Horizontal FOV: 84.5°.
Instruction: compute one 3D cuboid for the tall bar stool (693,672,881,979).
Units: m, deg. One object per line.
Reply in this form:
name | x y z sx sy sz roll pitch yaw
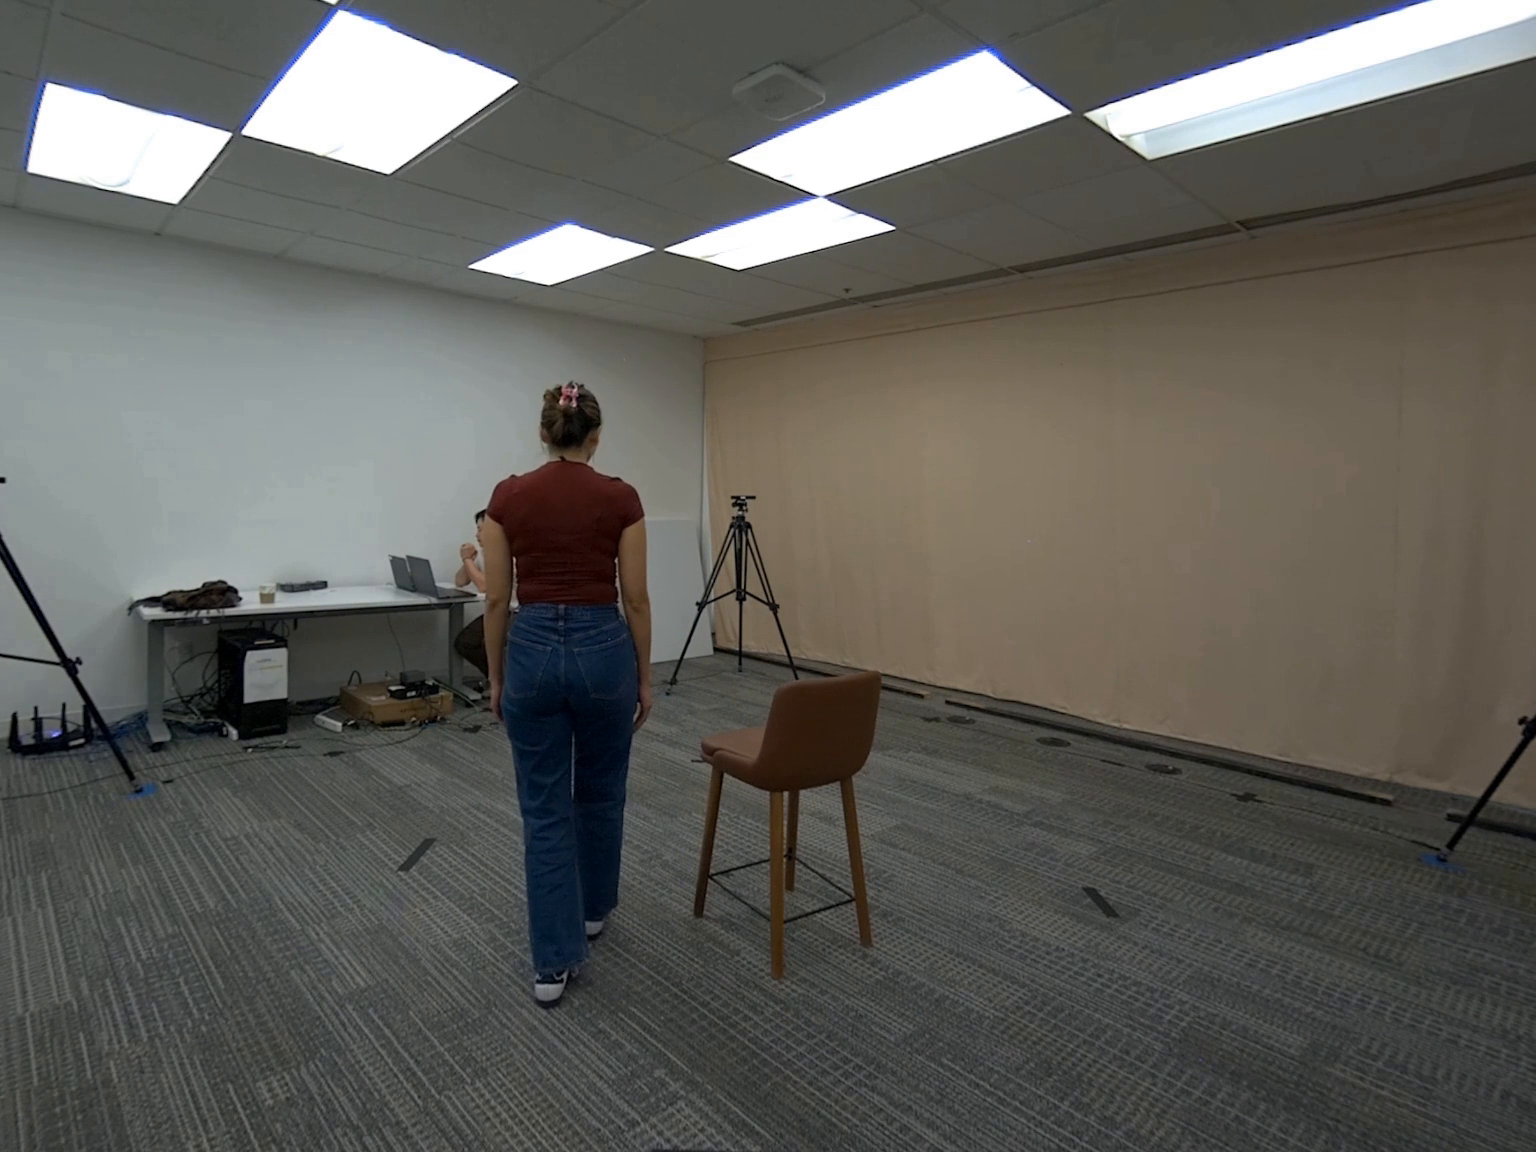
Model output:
tall bar stool | 0.056 0.712 2.688 0.446 0.886 0.479 -1 6 -35
